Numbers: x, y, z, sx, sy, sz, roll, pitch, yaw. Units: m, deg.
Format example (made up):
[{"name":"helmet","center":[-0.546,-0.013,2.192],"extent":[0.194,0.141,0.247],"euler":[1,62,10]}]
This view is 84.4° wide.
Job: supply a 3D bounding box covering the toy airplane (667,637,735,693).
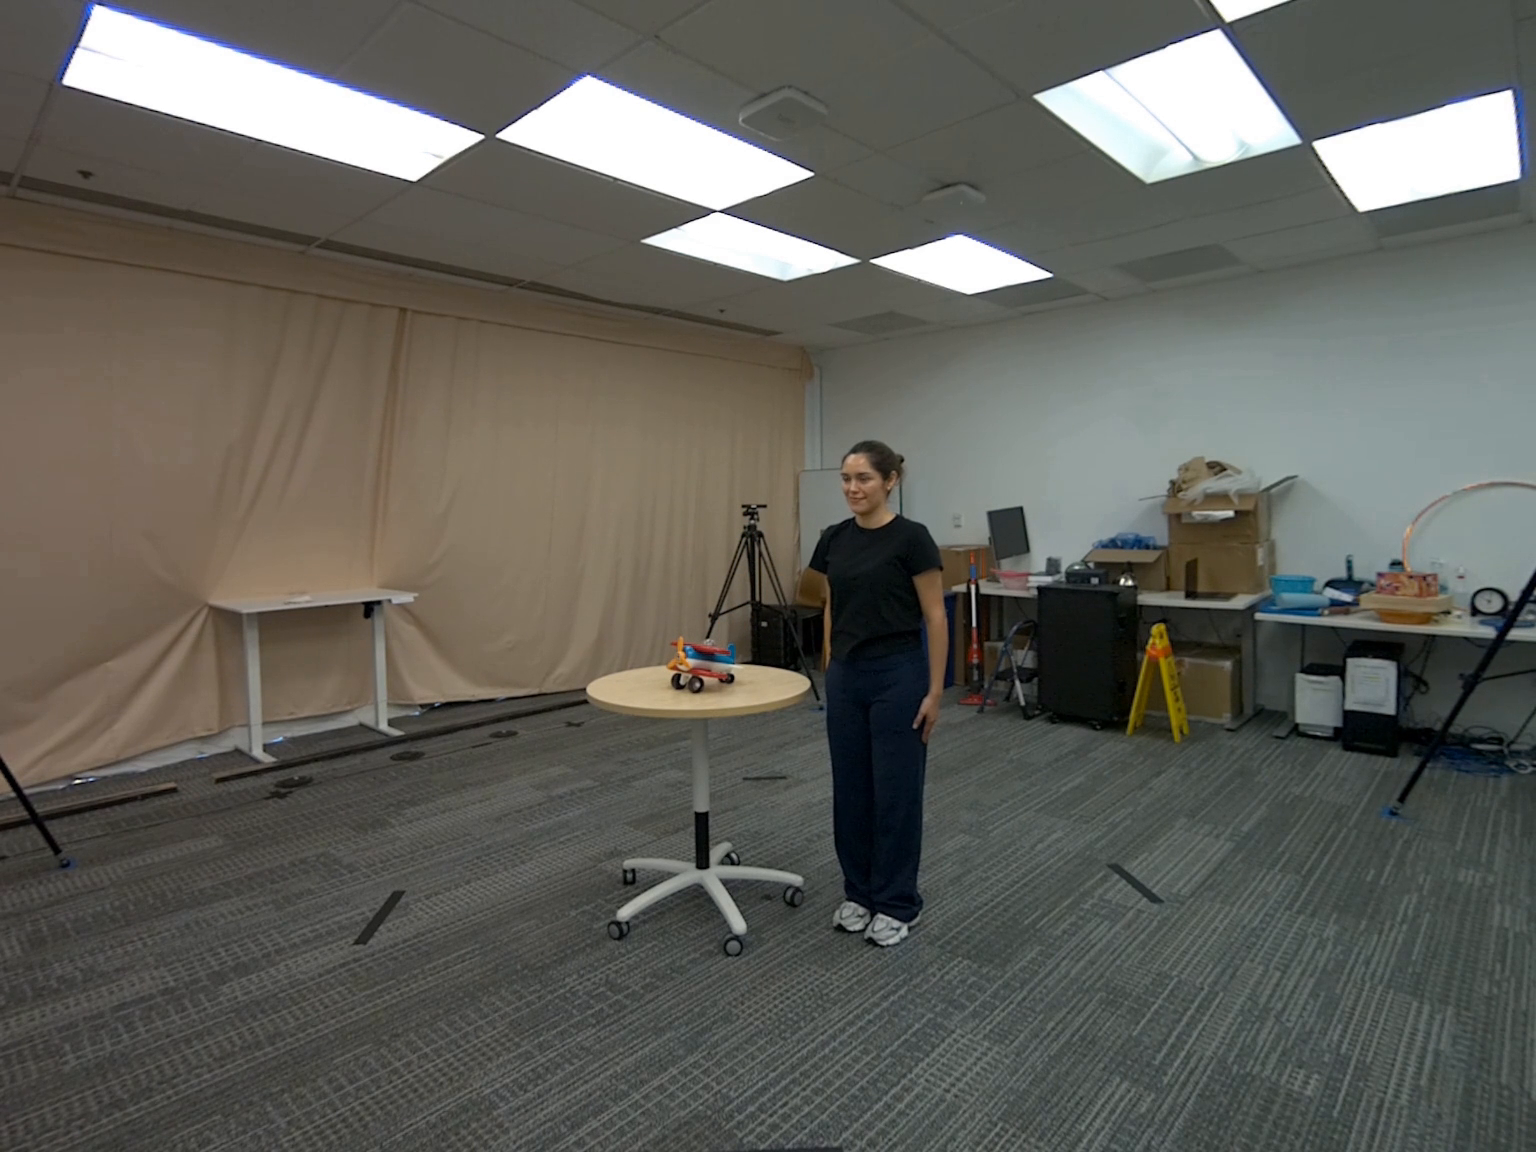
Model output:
[{"name":"toy airplane","center":[-0.200,0.300,2.845],"extent":[0.256,0.156,0.255],"euler":[1,6,17]}]
